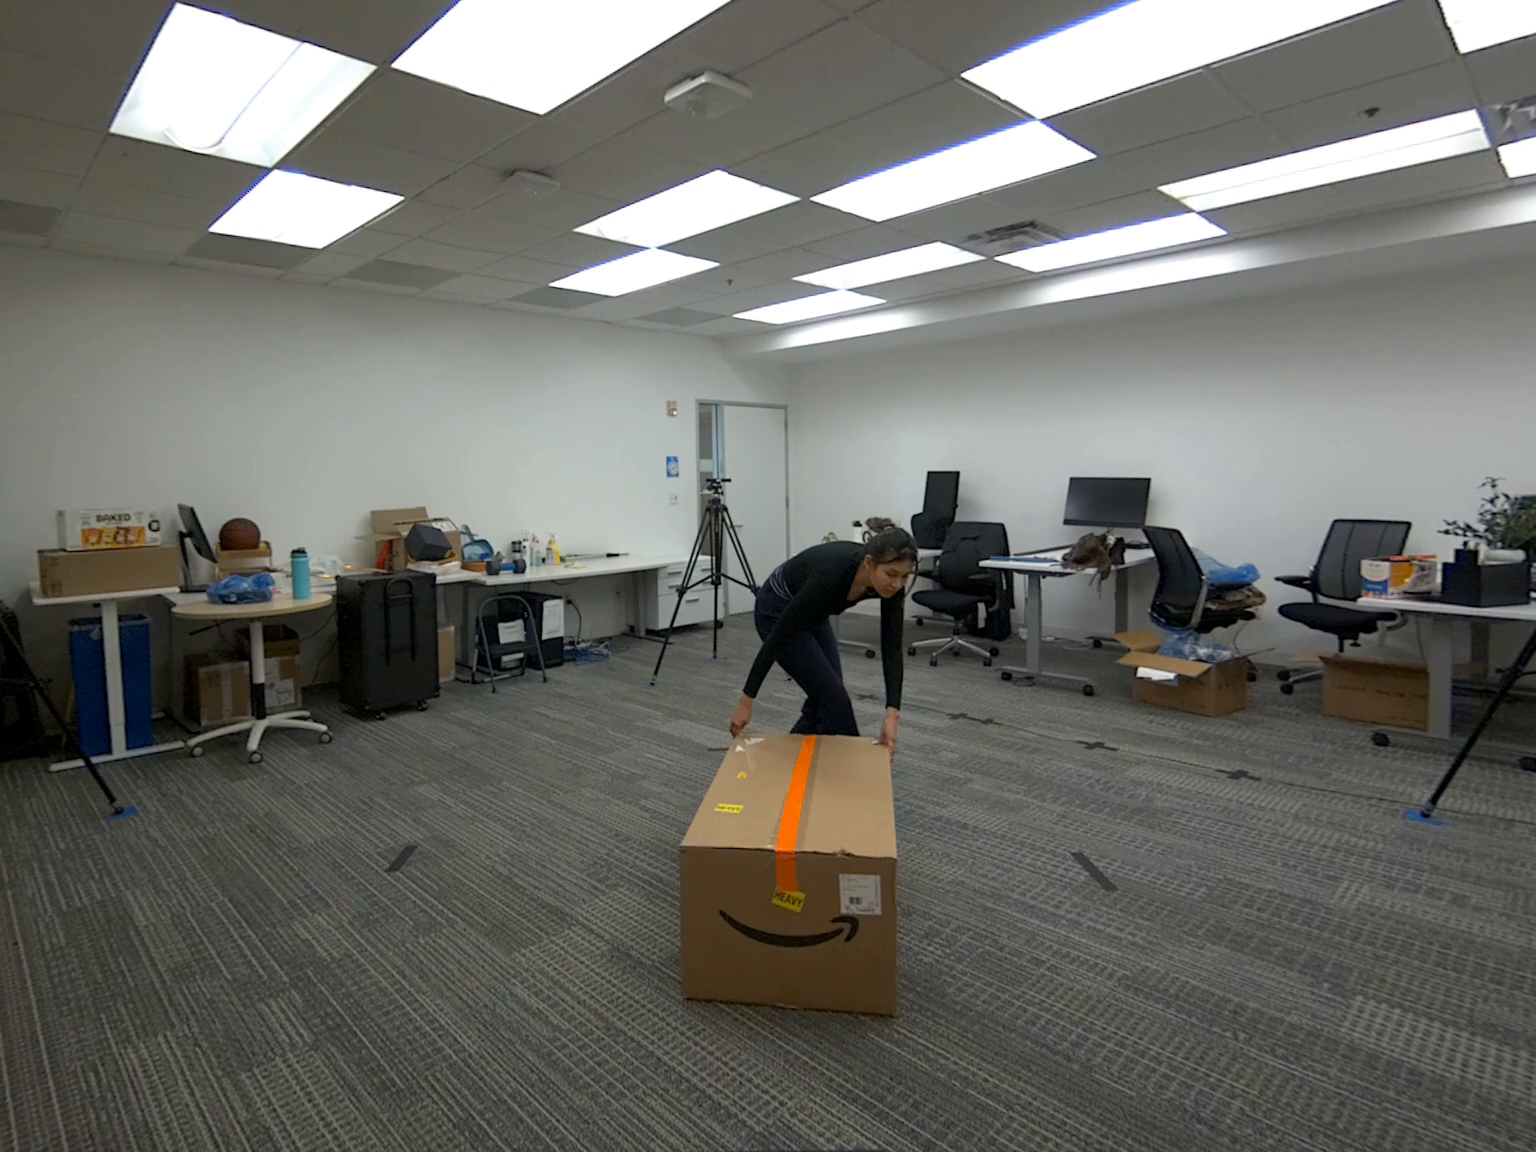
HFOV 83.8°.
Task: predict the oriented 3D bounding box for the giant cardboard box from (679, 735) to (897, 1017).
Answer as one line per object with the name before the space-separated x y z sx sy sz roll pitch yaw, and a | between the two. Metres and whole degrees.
giant cardboard box | 0.109 0.869 2.739 0.582 0.424 1.022 -1 6 7
